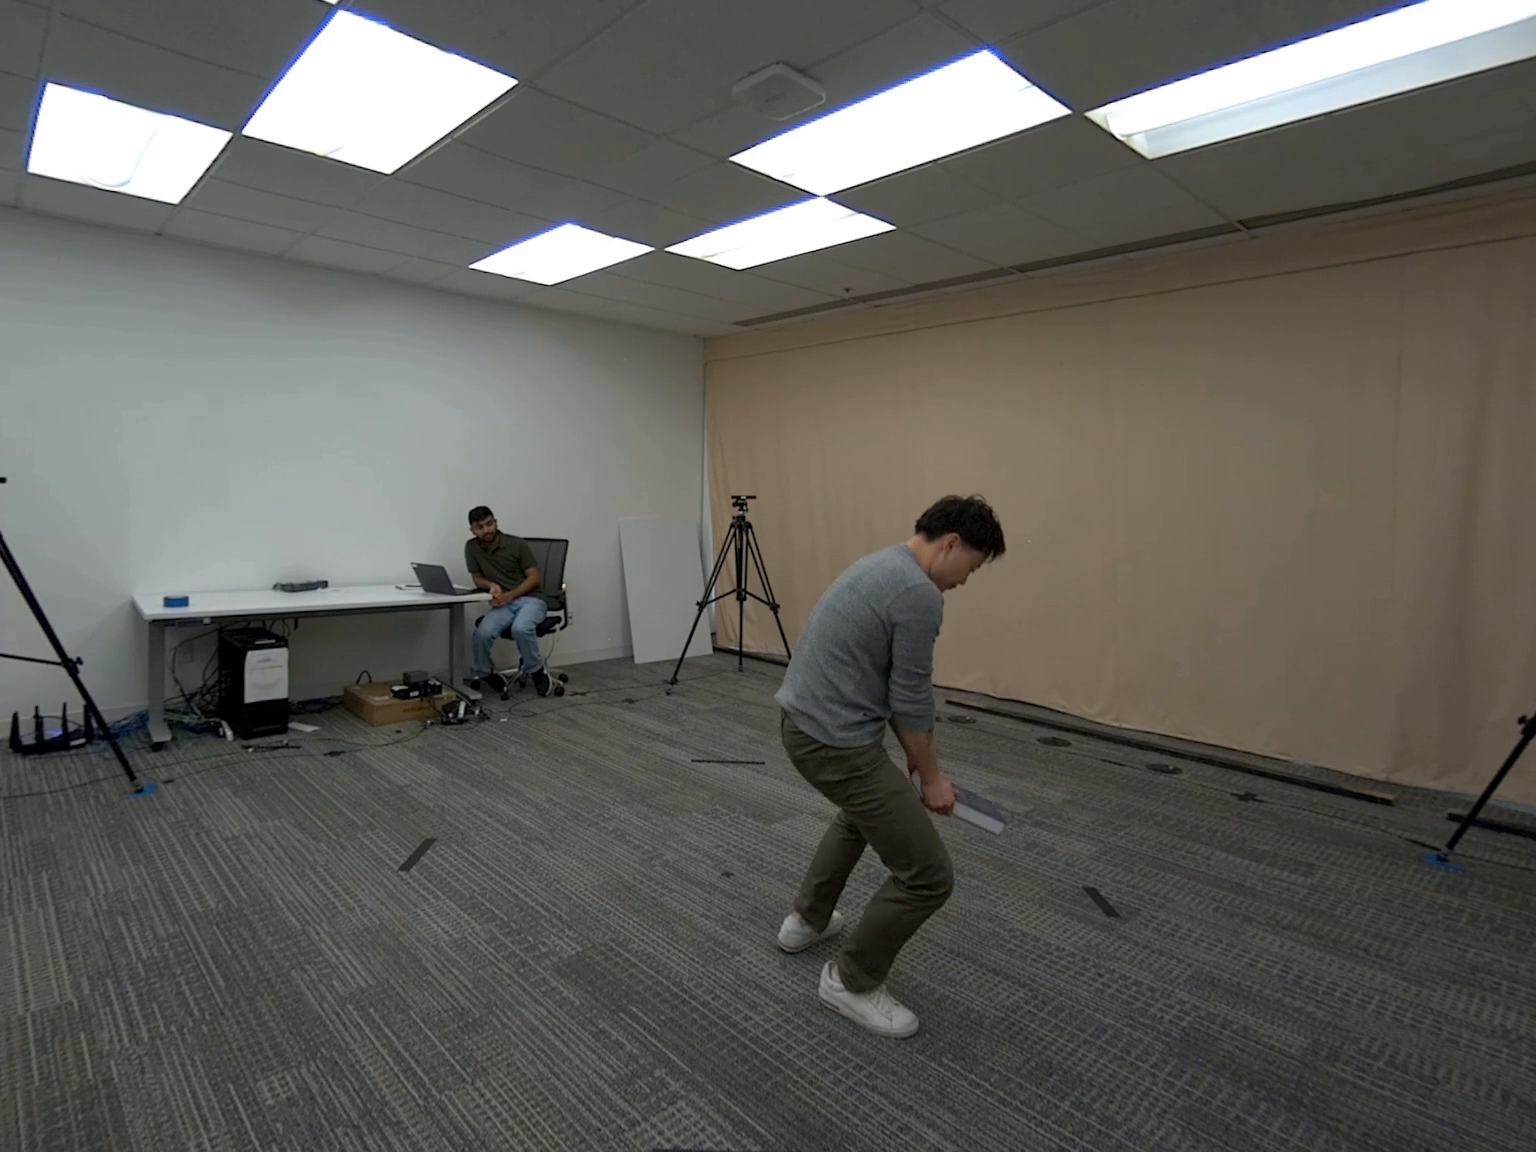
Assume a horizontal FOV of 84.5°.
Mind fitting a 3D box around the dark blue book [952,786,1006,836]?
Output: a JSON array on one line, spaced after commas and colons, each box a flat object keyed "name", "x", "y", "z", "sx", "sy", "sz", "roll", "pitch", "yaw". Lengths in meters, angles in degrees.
[{"name": "dark blue book", "x": 0.547, "y": 0.657, "z": 2.392, "sx": 0.247, "sy": 0.045, "sz": 0.162, "roll": 23, "pitch": 6, "yaw": 8}]
